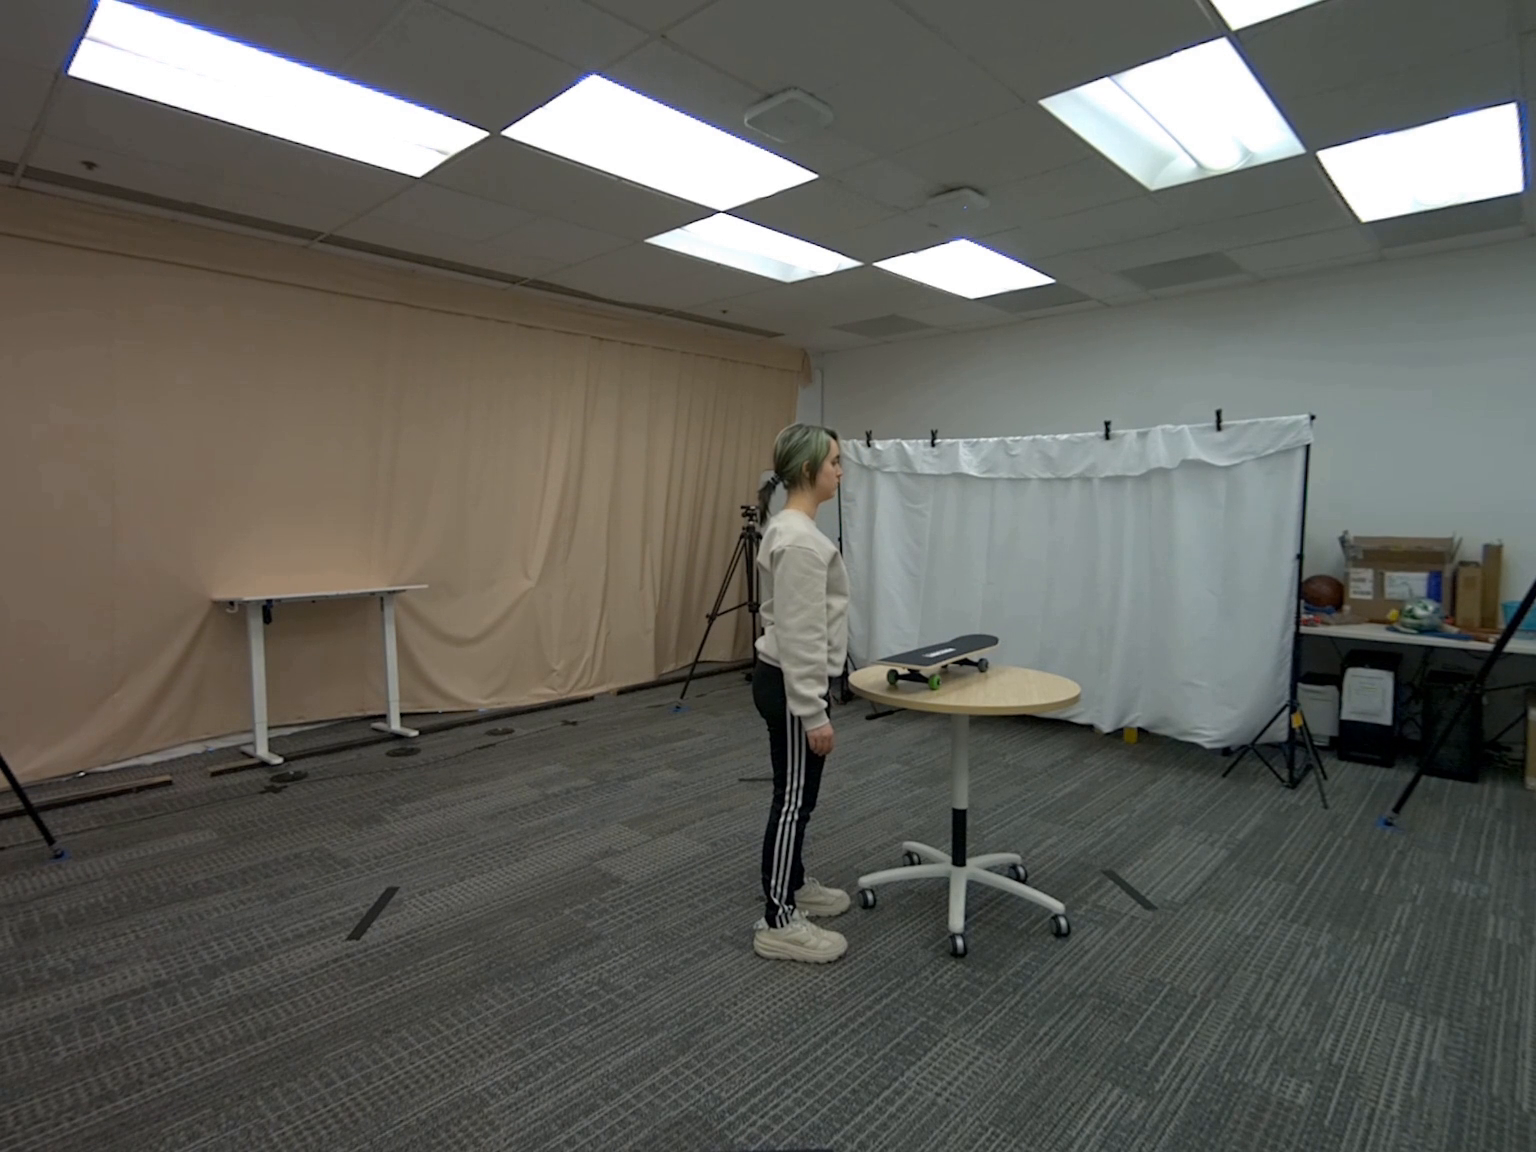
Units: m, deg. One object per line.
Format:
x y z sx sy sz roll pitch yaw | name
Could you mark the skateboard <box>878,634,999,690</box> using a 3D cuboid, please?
0.618 0.310 2.959 0.199 0.110 0.762 0 3 40 | skateboard
